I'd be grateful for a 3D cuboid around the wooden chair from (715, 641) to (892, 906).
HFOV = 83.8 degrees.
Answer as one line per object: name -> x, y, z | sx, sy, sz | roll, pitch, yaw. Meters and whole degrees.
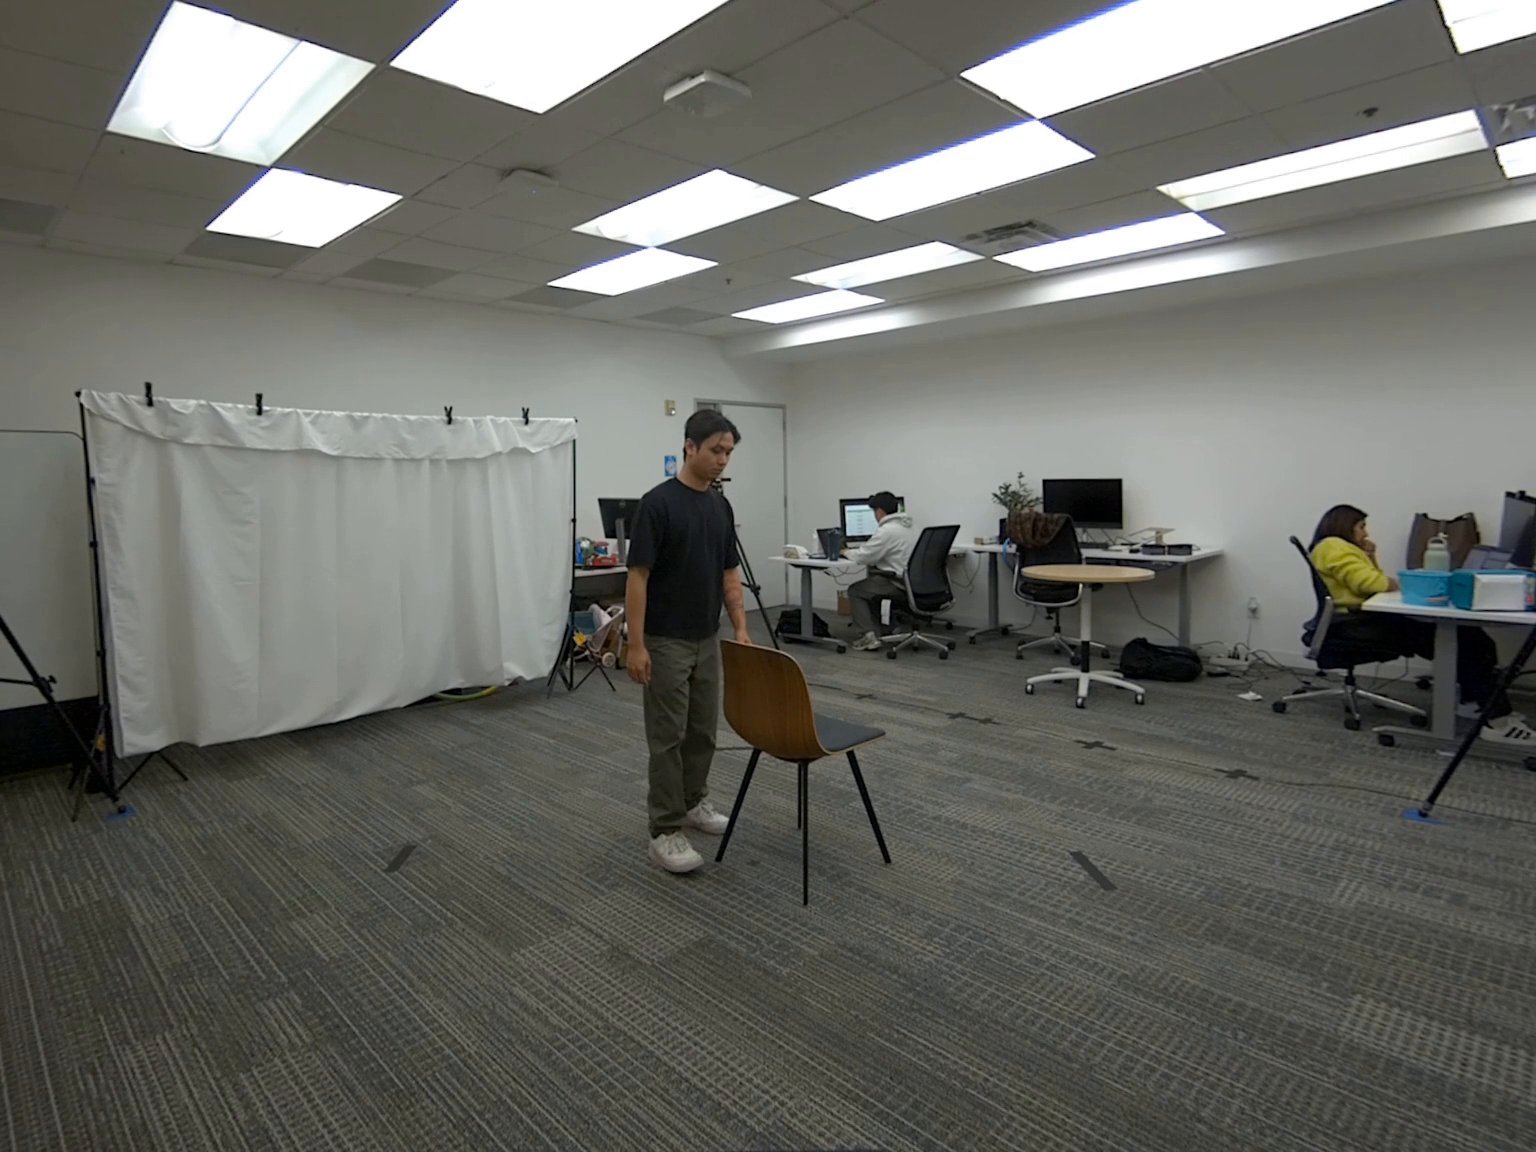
wooden chair -> 0.132, 0.617, 3.066 | 0.511, 0.872, 0.493 | -10, 9, -42
